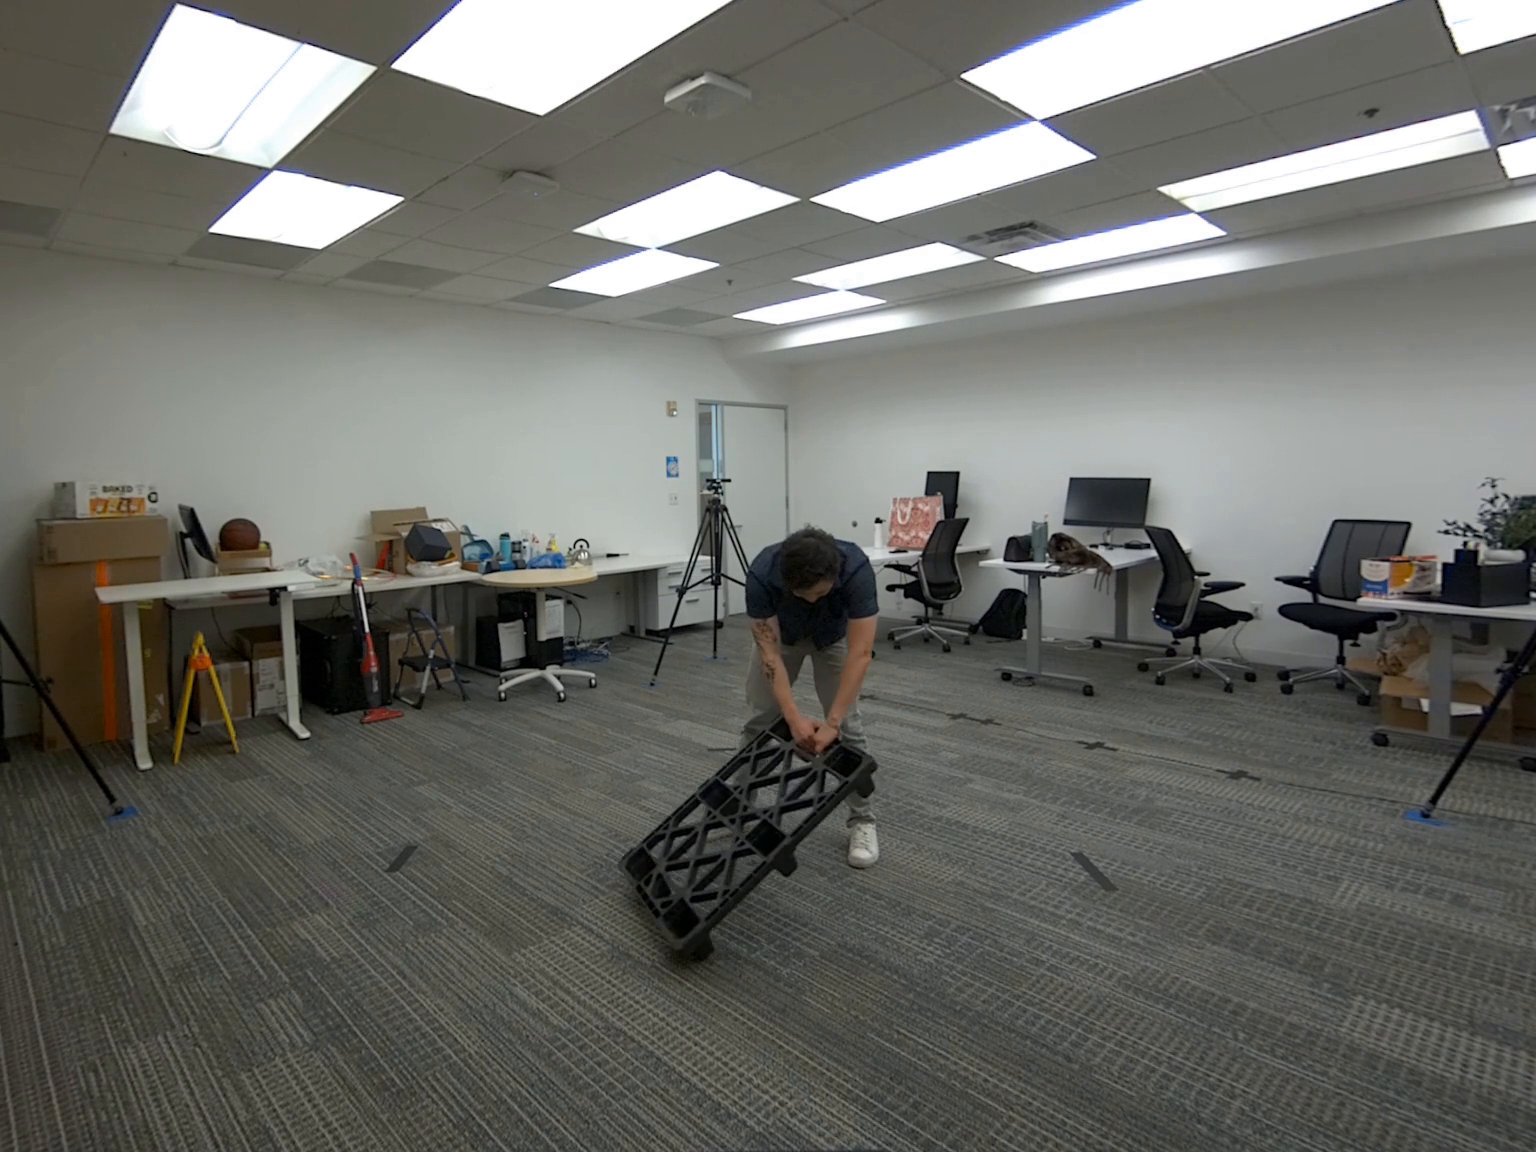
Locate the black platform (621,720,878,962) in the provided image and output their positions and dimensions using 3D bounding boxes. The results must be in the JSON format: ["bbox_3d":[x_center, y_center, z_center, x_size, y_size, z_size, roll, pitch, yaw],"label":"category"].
[{"bbox_3d":[-0.055,0.820,2.776,0.803,0.140,0.621,-41,22,-16],"label":"black platform"}]
